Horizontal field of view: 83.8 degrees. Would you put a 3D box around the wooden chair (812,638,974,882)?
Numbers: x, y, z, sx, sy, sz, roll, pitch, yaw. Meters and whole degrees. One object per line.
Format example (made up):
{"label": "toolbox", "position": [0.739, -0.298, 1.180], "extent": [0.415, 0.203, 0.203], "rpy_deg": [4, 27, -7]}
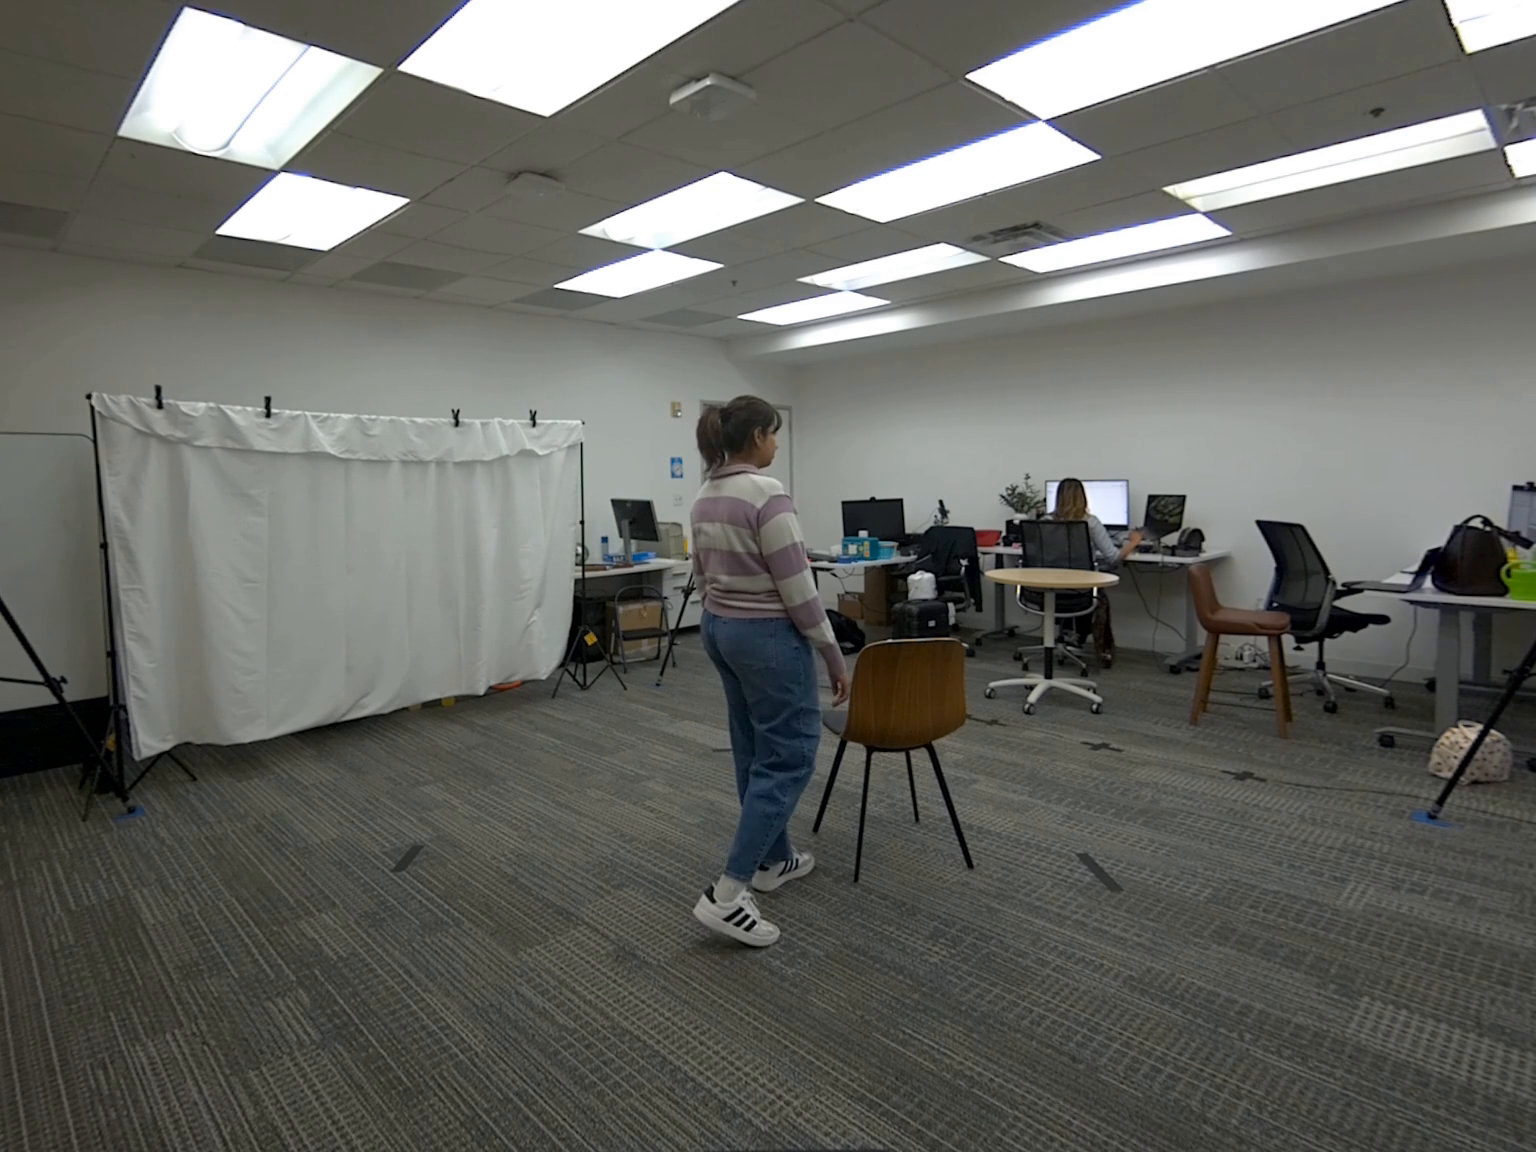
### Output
{"label": "wooden chair", "position": [0.443, 0.603, 3.193], "extent": [0.472, 0.871, 0.533], "rpy_deg": [-3, 8, -14]}
